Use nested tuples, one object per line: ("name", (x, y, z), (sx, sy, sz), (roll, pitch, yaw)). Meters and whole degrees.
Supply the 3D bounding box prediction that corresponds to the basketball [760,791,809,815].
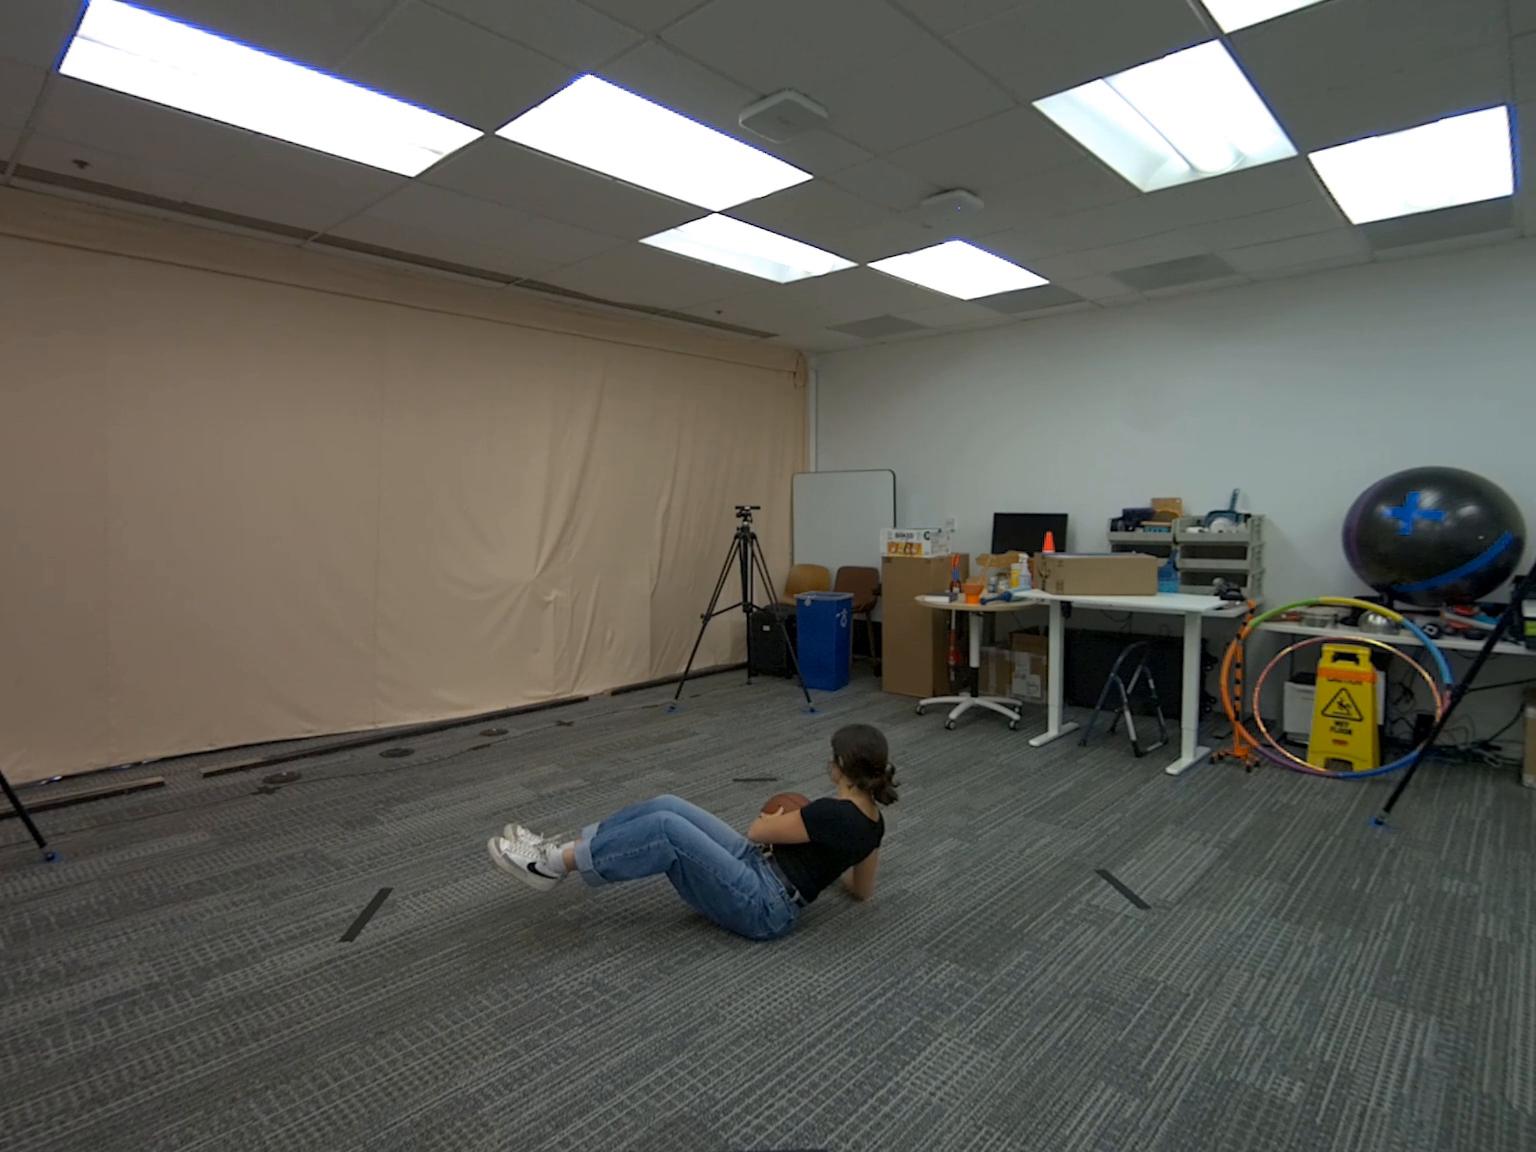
("basketball", (0.080, 0.927, 3.199), (0.236, 0.235, 0.237), (0, 4, -2))
